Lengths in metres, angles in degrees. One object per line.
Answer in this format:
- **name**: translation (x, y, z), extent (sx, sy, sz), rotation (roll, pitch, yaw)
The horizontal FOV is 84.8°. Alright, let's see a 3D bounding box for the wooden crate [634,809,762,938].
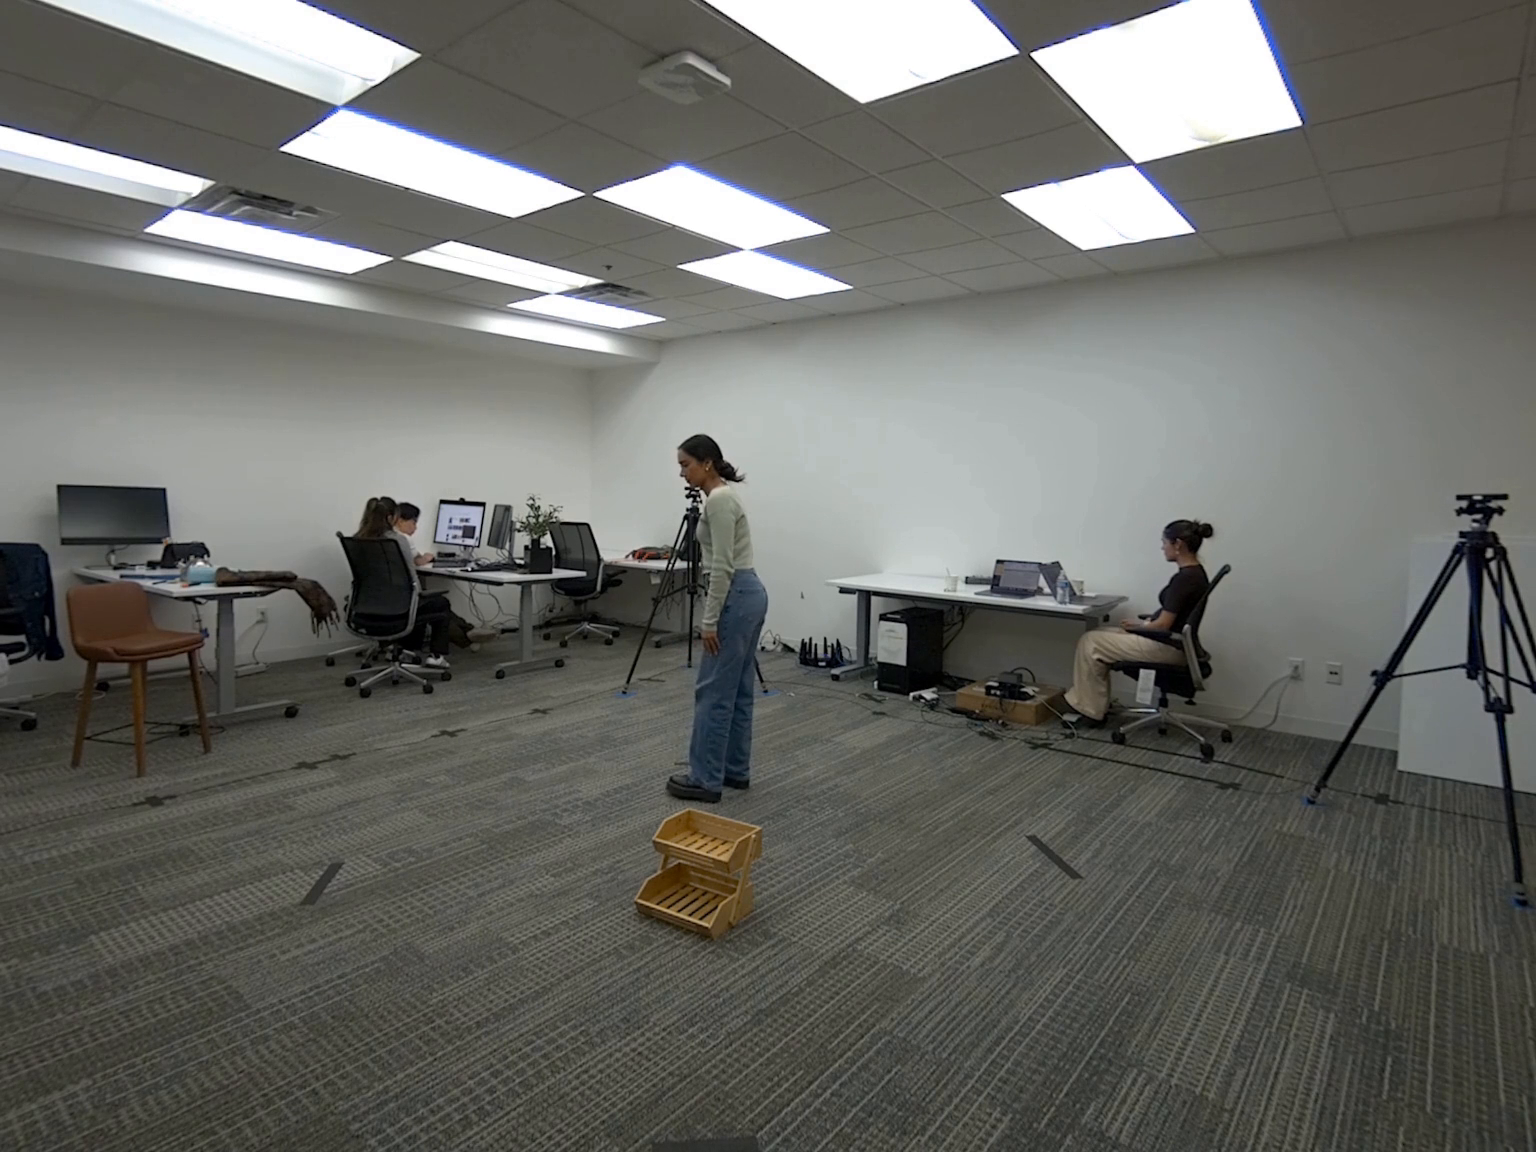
- **wooden crate**: translation (-0.238, 0.961, 2.795), extent (0.334, 0.273, 0.294), rotation (4, 4, 32)
